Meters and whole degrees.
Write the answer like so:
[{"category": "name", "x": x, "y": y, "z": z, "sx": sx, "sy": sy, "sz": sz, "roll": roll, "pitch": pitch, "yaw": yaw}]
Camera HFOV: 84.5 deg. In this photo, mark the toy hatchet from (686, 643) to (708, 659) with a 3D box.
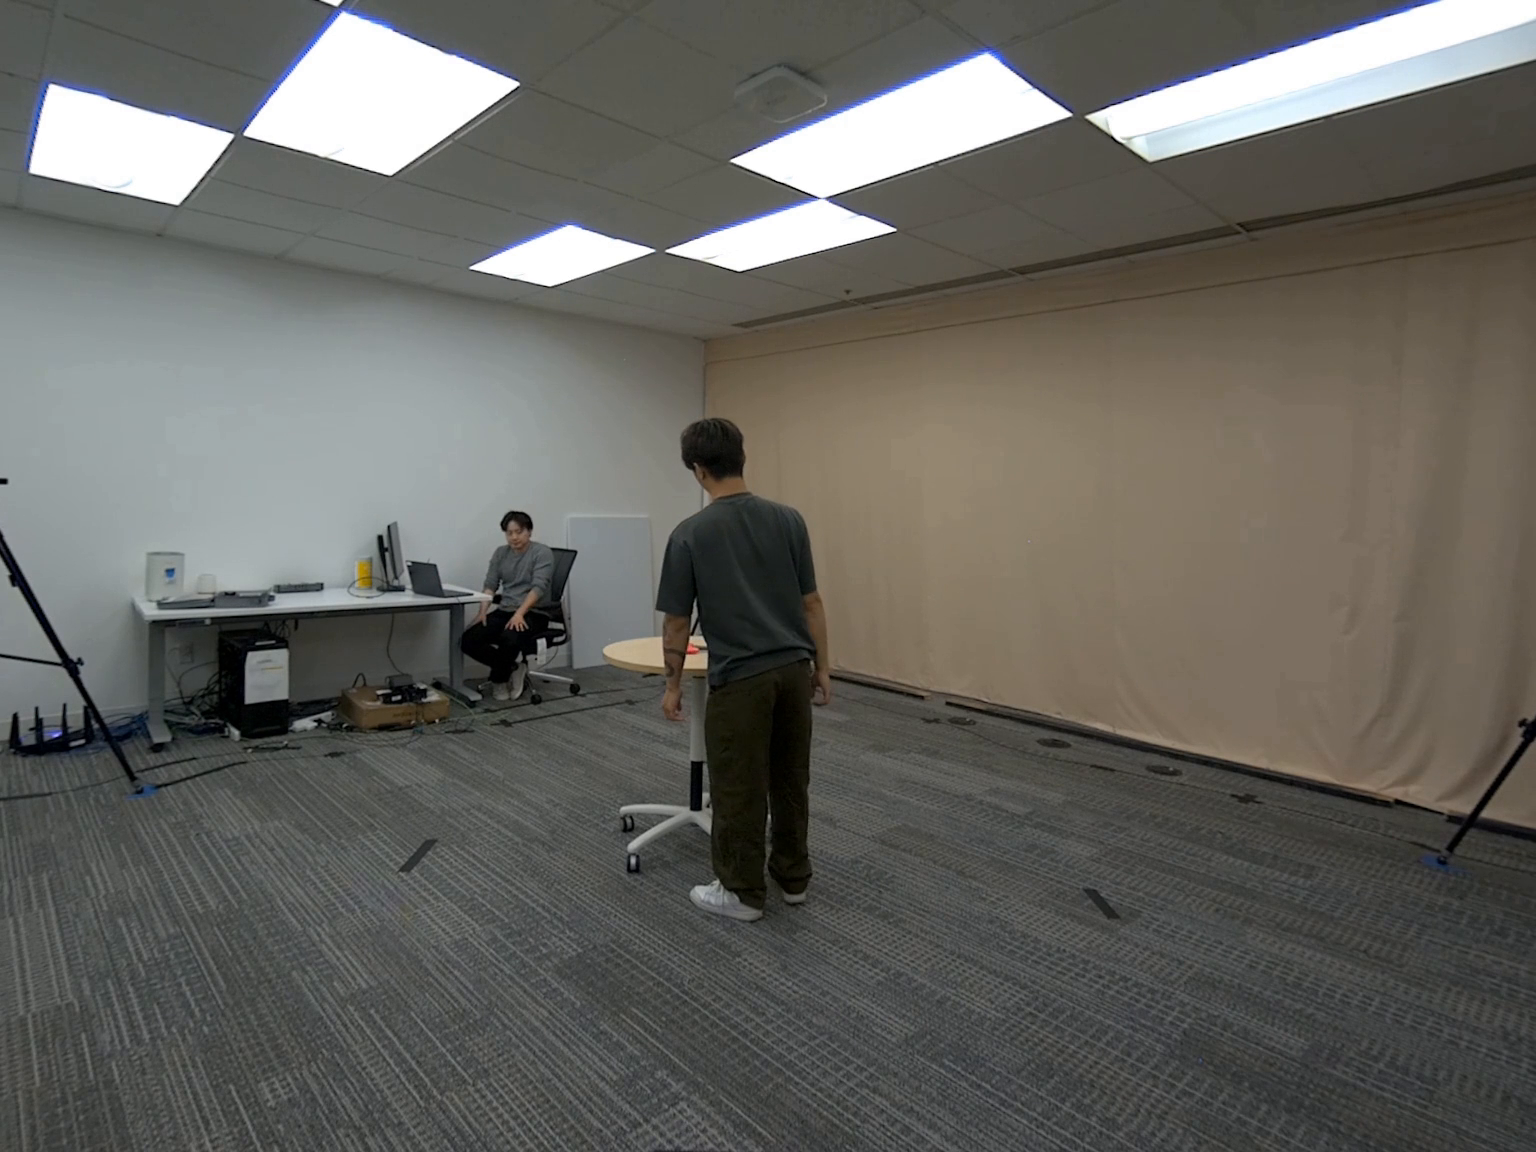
[{"category": "toy hatchet", "x": -0.215, "y": 0.294, "z": 3.288, "sx": 0.274, "sy": 0.029, "sz": 0.129, "roll": 3, "pitch": 5, "yaw": 21}]
